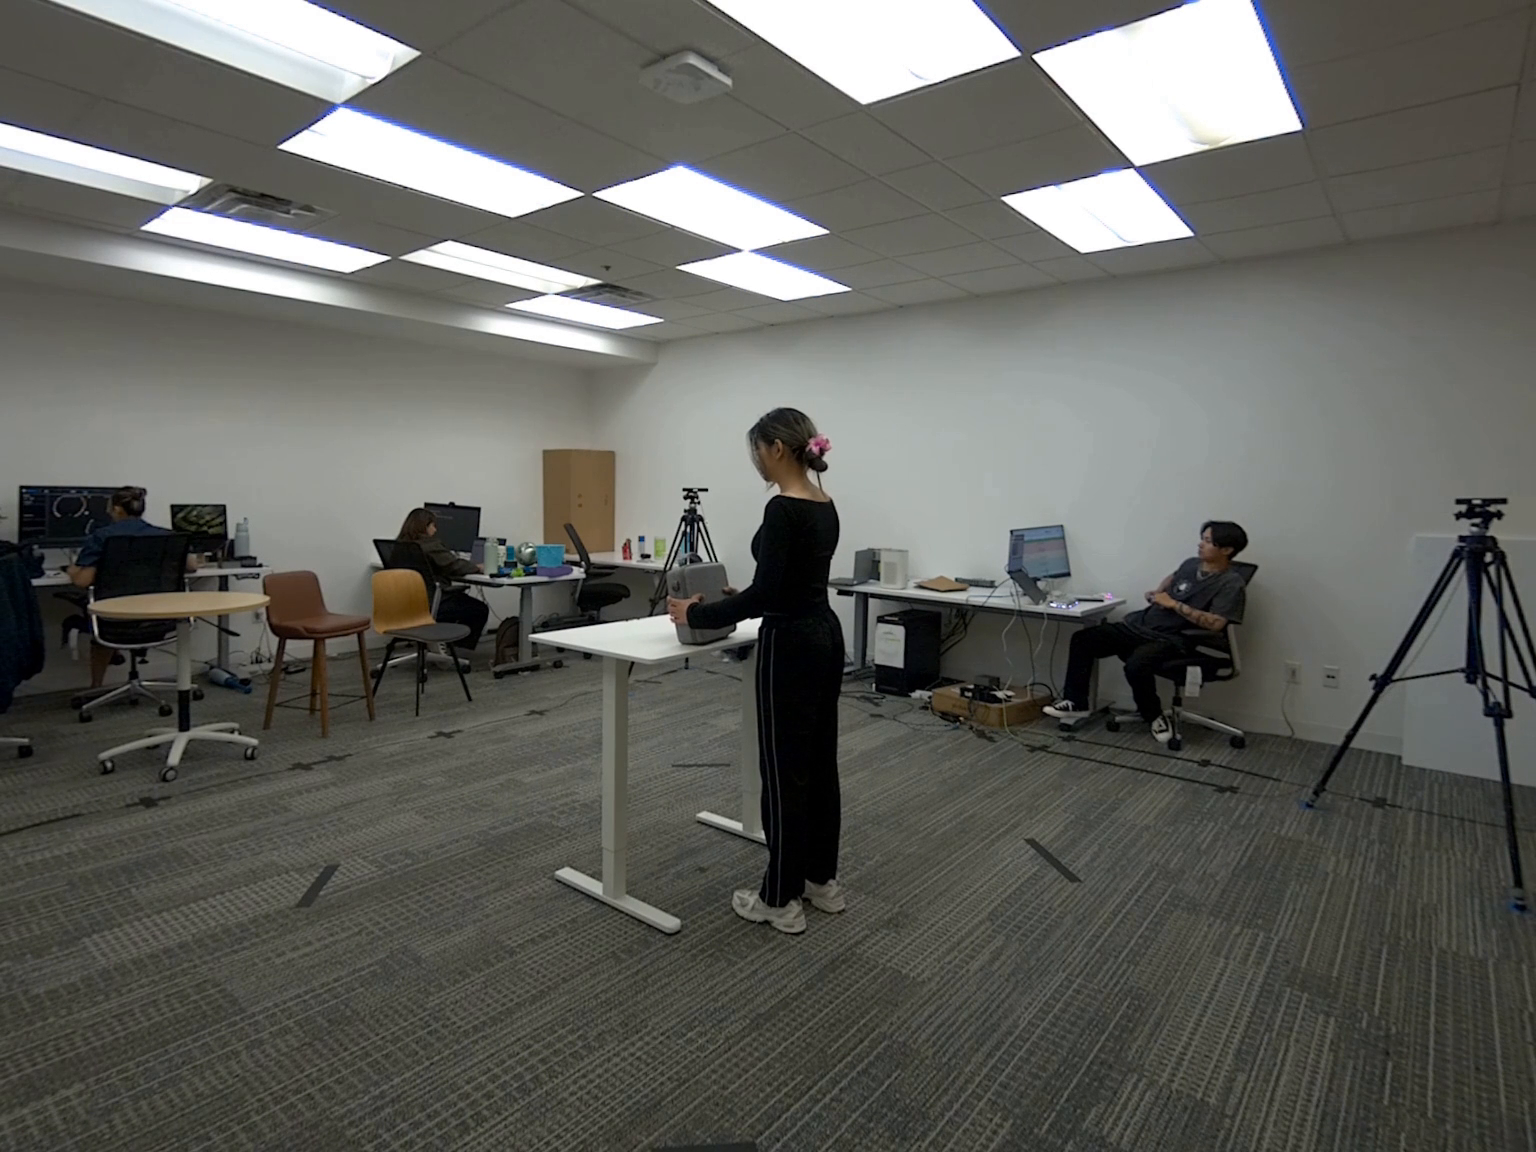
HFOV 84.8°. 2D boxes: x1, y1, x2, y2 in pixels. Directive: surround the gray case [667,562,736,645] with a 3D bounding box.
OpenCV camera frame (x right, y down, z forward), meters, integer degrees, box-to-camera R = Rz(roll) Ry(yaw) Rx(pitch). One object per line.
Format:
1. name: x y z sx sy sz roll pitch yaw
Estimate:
1. gray case: -0.231 0.083 2.851 0.106 0.262 0.250 -12 -3 28
